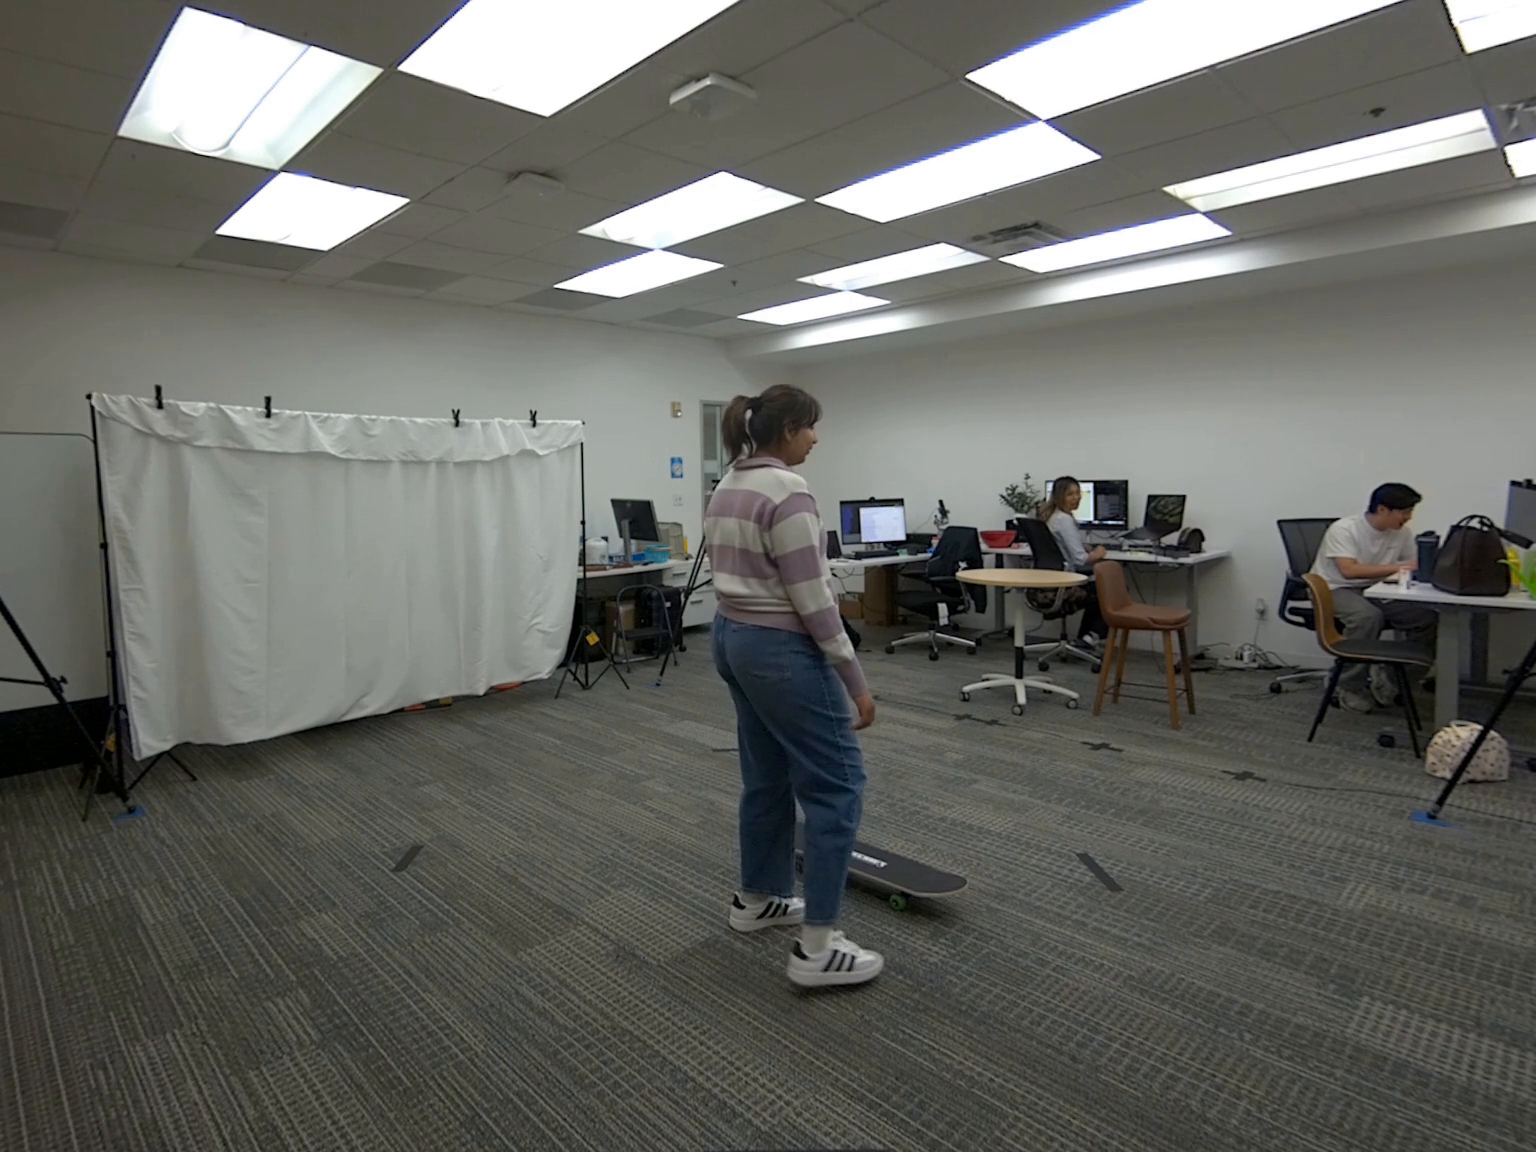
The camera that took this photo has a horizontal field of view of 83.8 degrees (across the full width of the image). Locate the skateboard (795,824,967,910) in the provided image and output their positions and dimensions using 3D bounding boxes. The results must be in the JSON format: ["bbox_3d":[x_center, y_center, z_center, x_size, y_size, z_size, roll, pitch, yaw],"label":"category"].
[{"bbox_3d":[0.324,1.005,2.947,0.809,0.110,0.188,4,9,43],"label":"skateboard"}]
